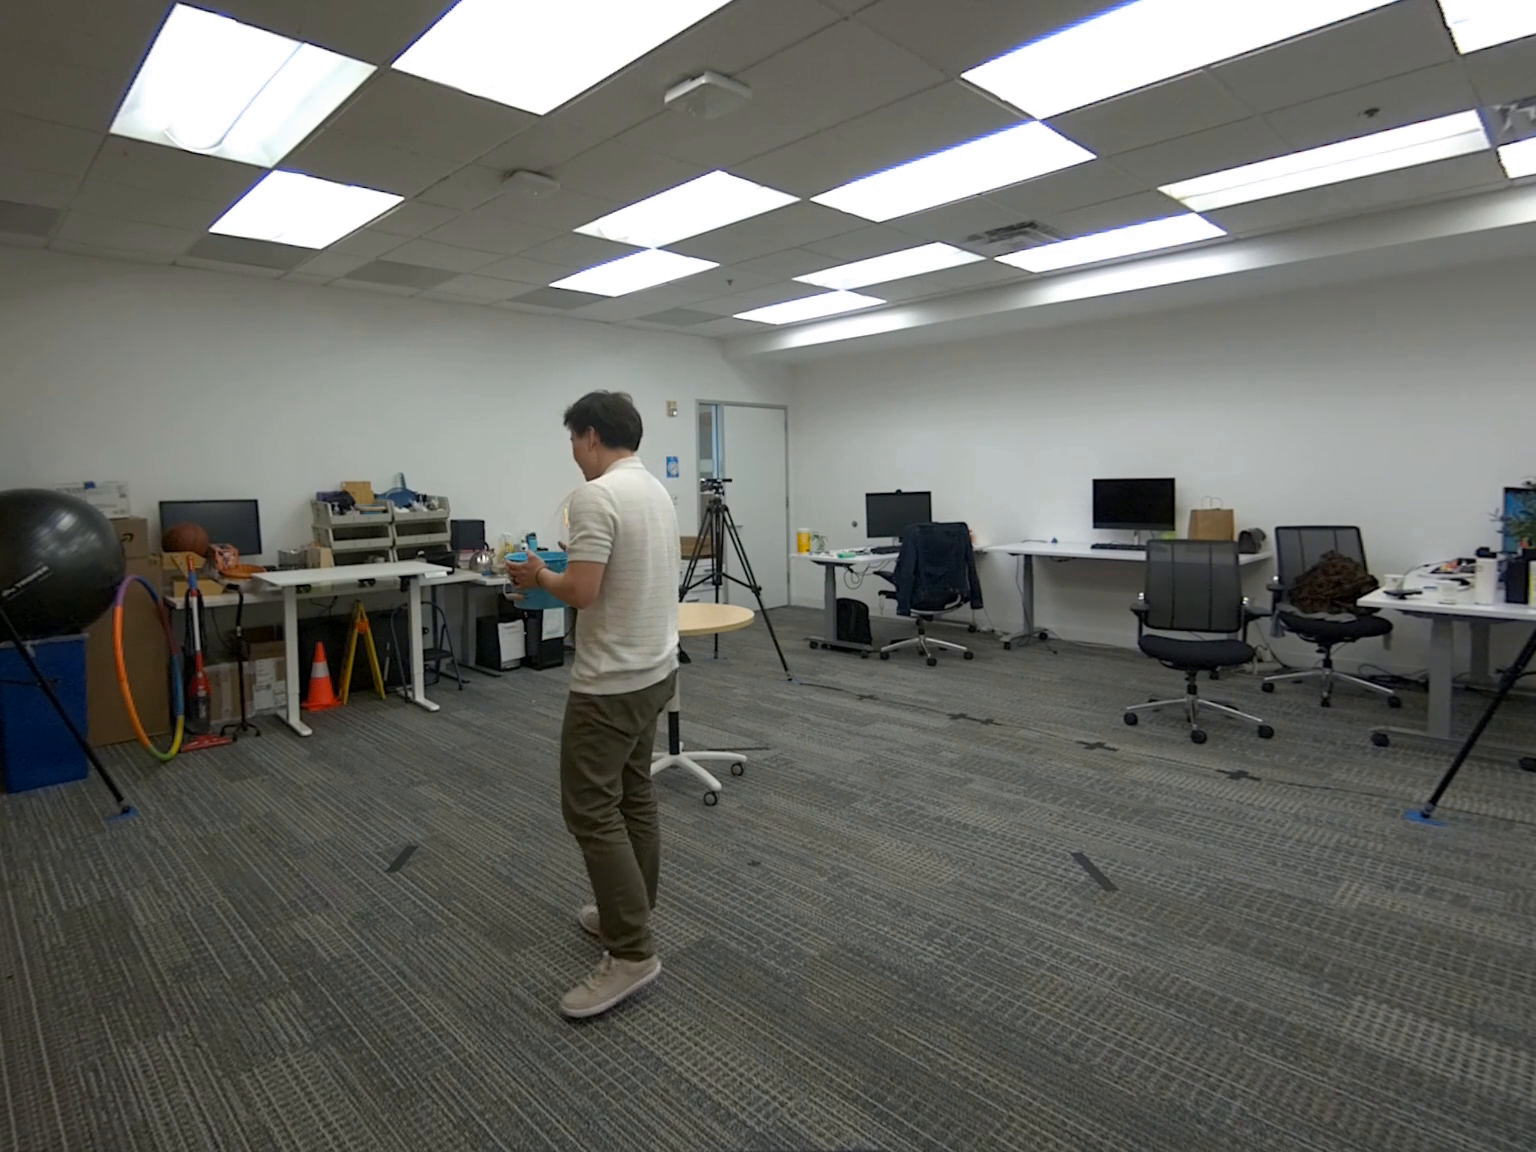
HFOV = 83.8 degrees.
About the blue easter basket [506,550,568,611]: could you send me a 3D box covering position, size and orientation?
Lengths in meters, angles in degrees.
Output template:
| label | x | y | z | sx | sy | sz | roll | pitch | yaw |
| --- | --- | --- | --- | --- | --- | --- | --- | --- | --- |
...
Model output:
| label | x | y | z | sx | sy | sz | roll | pitch | yaw |
| --- | --- | --- | --- | --- | --- | --- | --- | --- | --- |
| blue easter basket | -0.688 | 0.012 | 2.614 | 0.243 | 0.155 | 0.245 | -1 | 6 | -2 |
